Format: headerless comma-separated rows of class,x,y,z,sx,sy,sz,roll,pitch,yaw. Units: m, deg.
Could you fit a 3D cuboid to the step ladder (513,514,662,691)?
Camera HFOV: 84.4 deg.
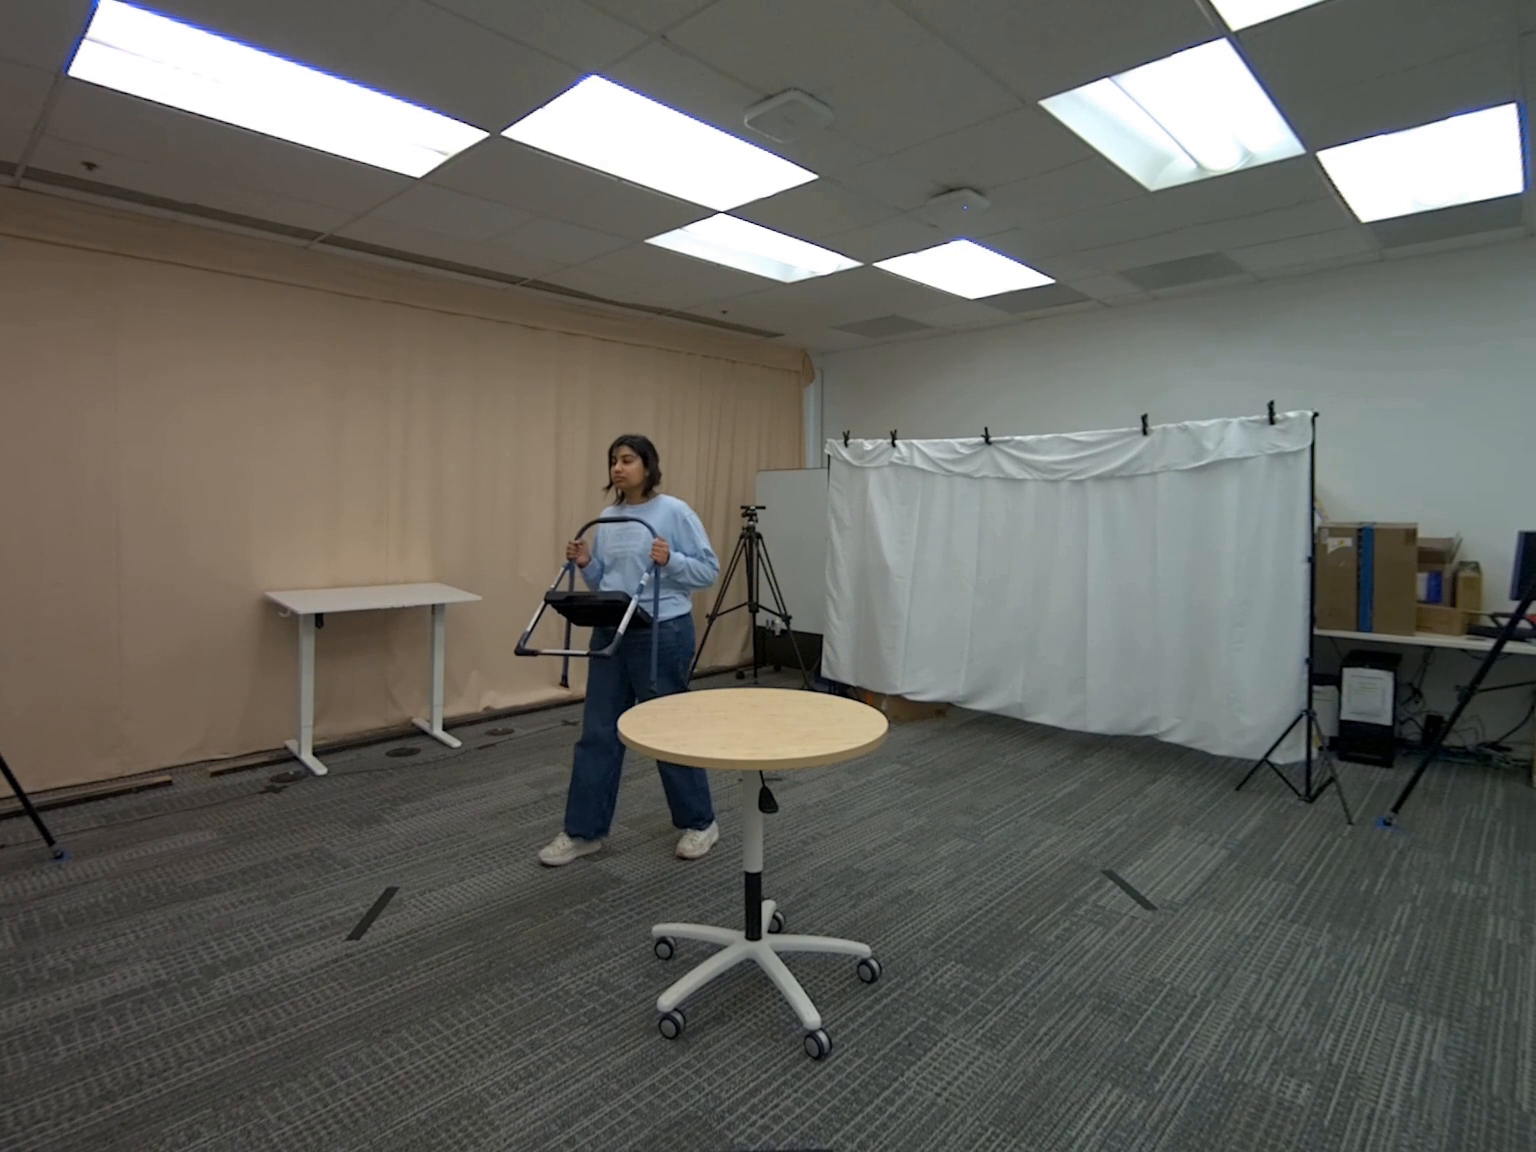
step ladder,-0.594,0.078,3.156,0.441,0.611,0.337,-1,-28,25
